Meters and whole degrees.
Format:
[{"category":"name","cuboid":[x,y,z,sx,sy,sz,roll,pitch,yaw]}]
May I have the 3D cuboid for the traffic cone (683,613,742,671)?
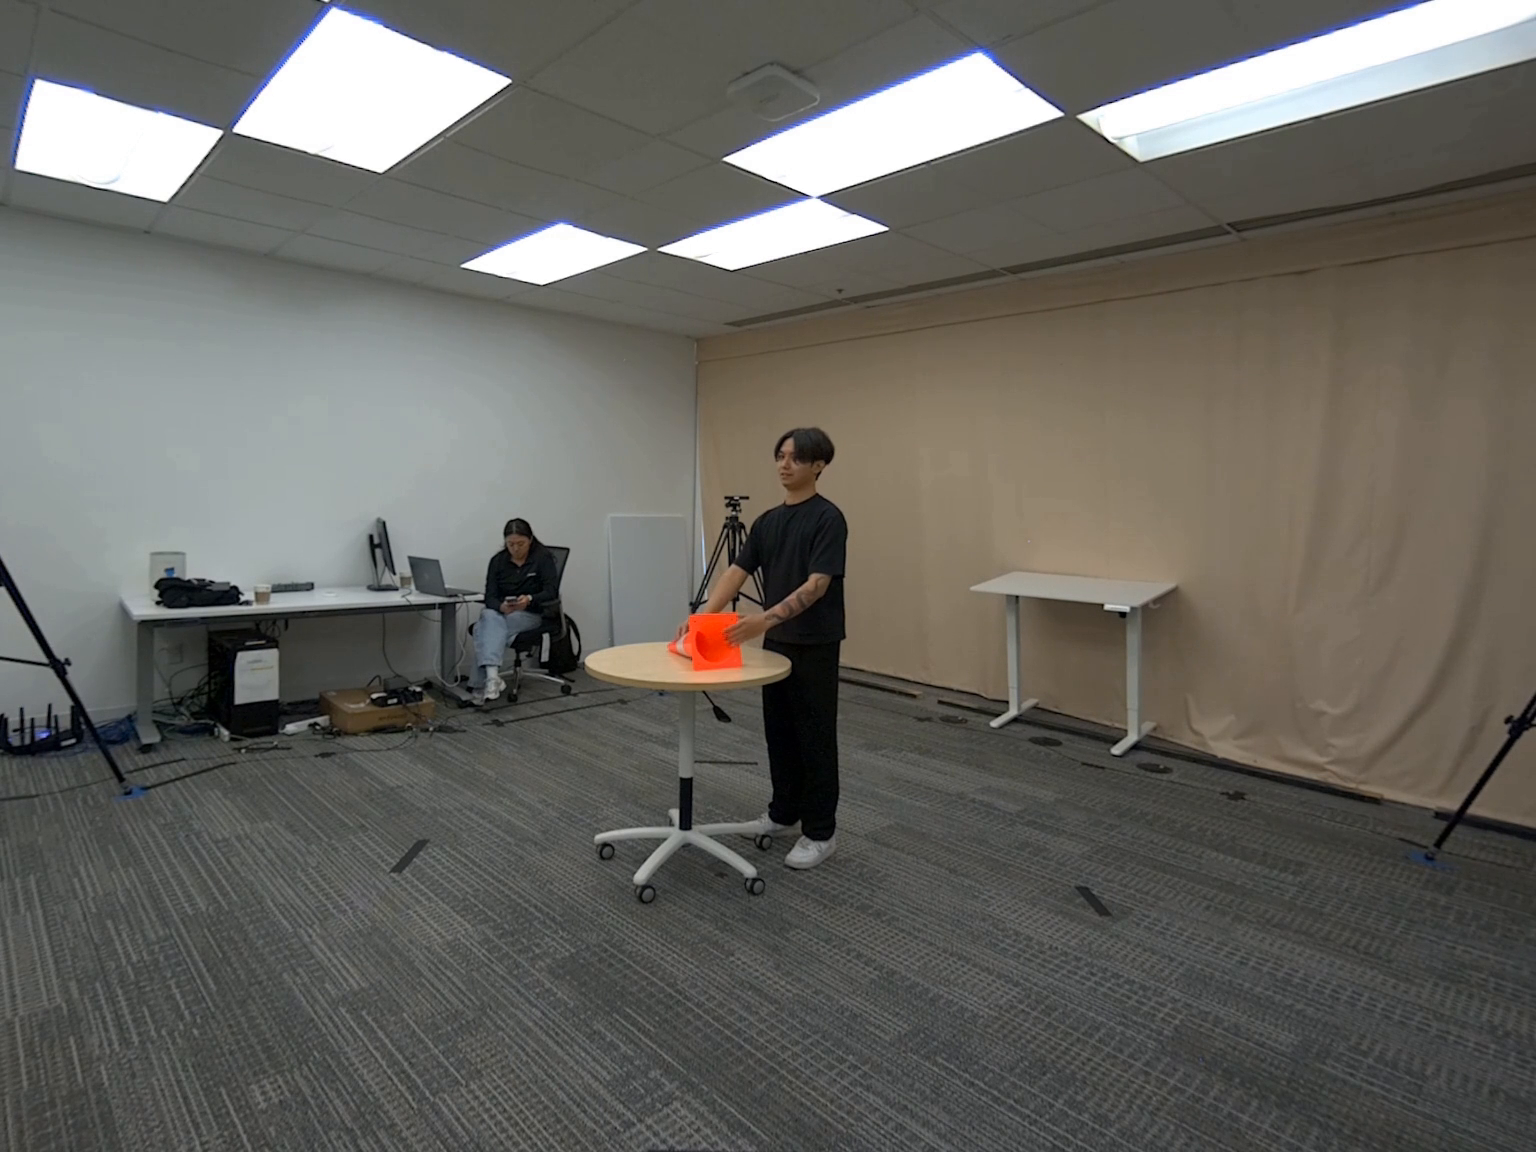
[{"category":"traffic cone","cuboid":[-0.295,0.260,3.165,0.199,0.206,0.389,-1,-6,-31]}]
